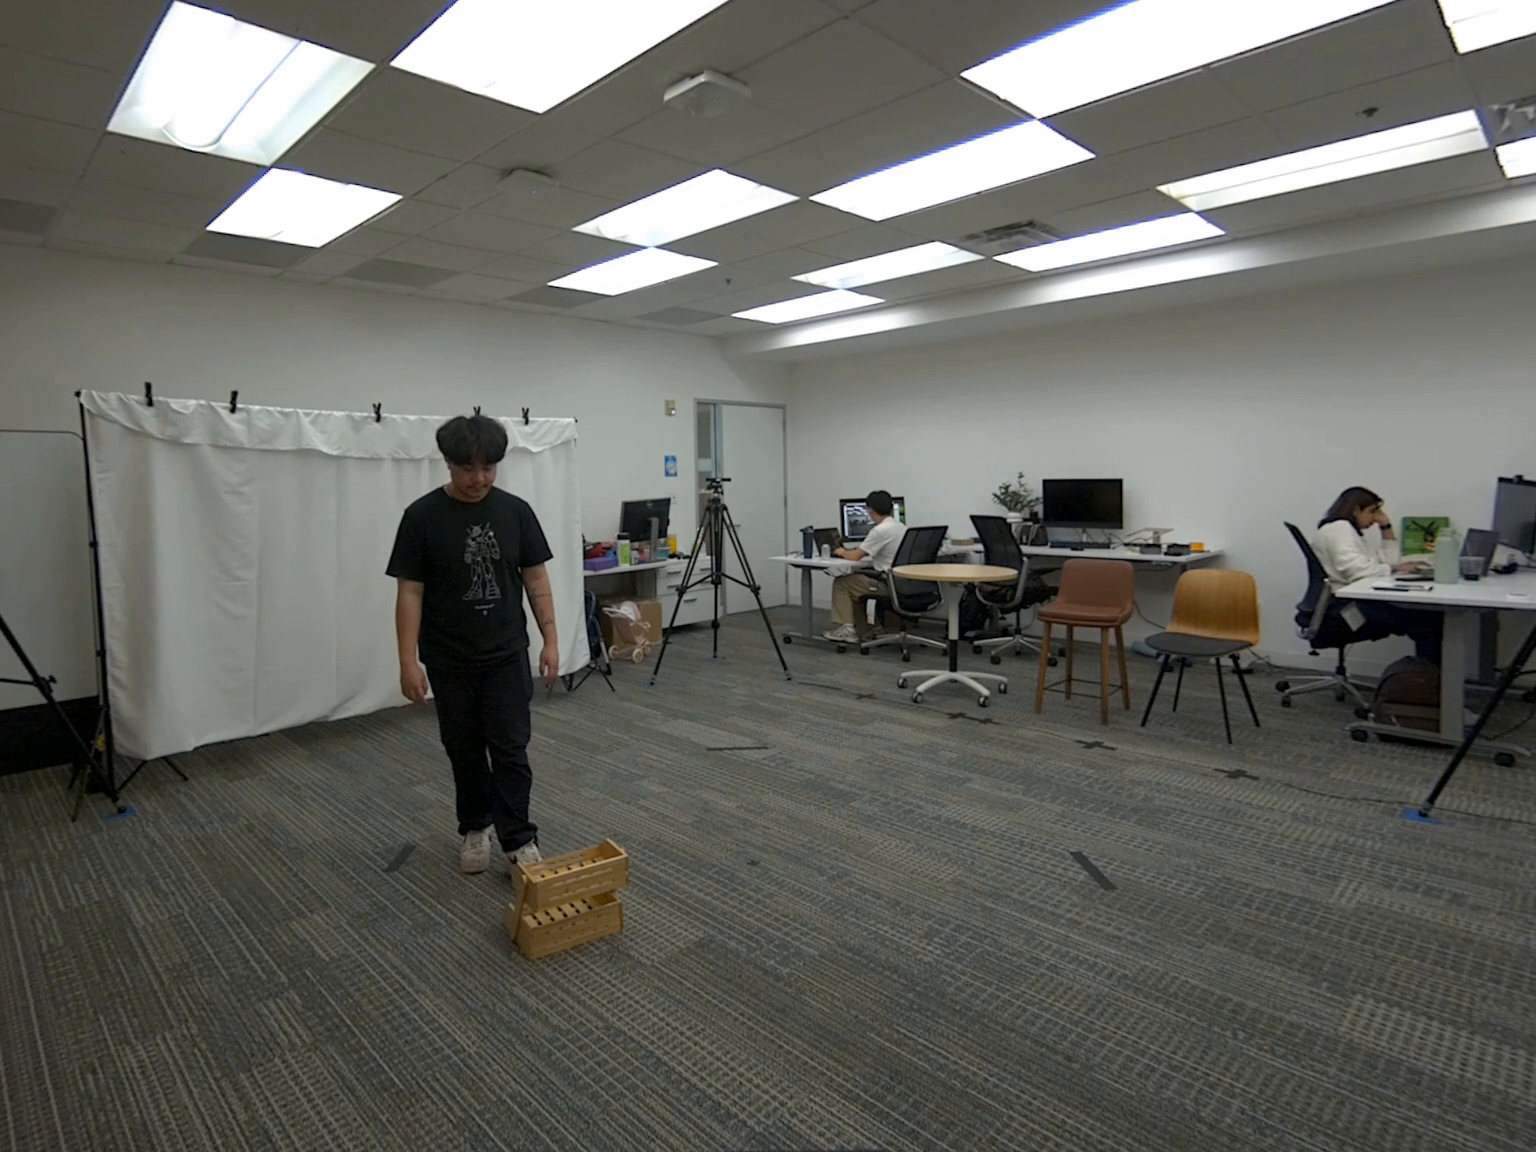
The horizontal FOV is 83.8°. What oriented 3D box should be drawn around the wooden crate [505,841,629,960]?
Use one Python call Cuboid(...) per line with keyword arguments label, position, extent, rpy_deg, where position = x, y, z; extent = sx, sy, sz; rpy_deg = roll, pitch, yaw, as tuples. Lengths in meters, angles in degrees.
Cuboid(label="wooden crate", position=(-0.630, 0.974, 2.652), extent=(0.316, 0.272, 0.311), rpy_deg=(-5, 7, -34))
